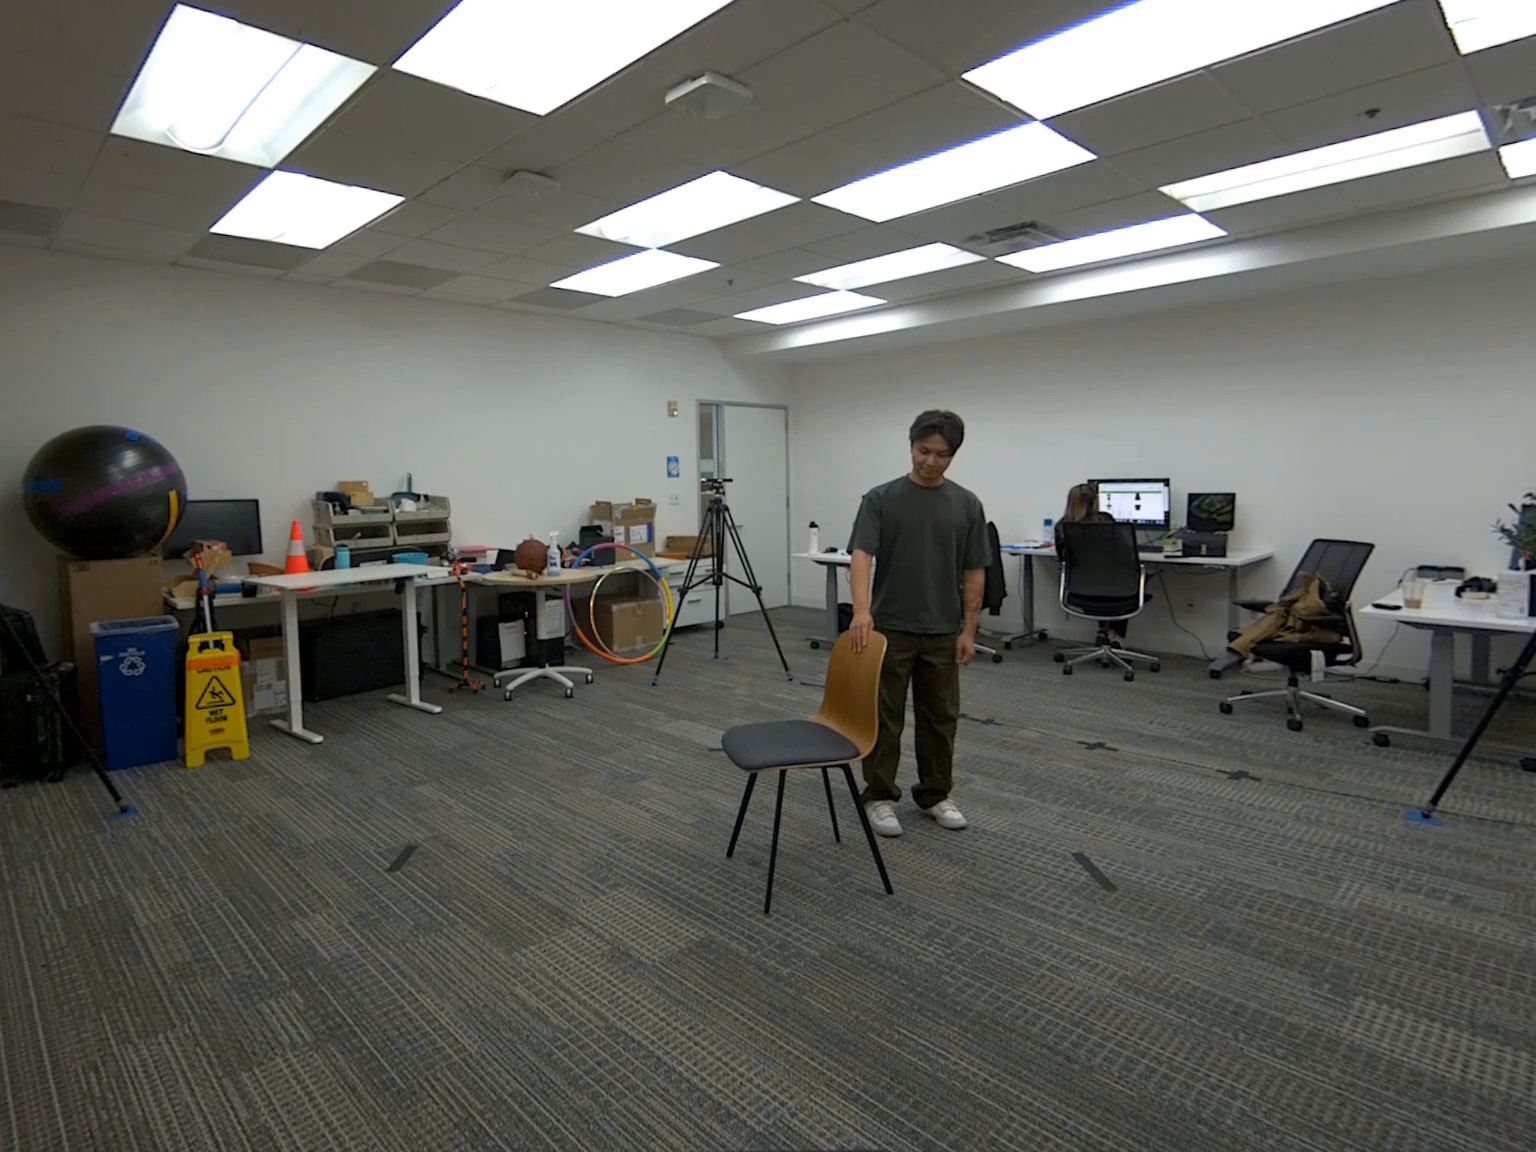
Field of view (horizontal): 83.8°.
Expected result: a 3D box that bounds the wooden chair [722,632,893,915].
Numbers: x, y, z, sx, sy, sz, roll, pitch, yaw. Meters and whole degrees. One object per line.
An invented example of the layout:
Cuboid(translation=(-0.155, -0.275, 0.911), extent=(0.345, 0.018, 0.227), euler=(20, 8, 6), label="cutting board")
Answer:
Cuboid(translation=(0.122, 0.629, 2.975), extent=(0.514, 0.875, 0.487), euler=(2, 4, -18), label="wooden chair")
